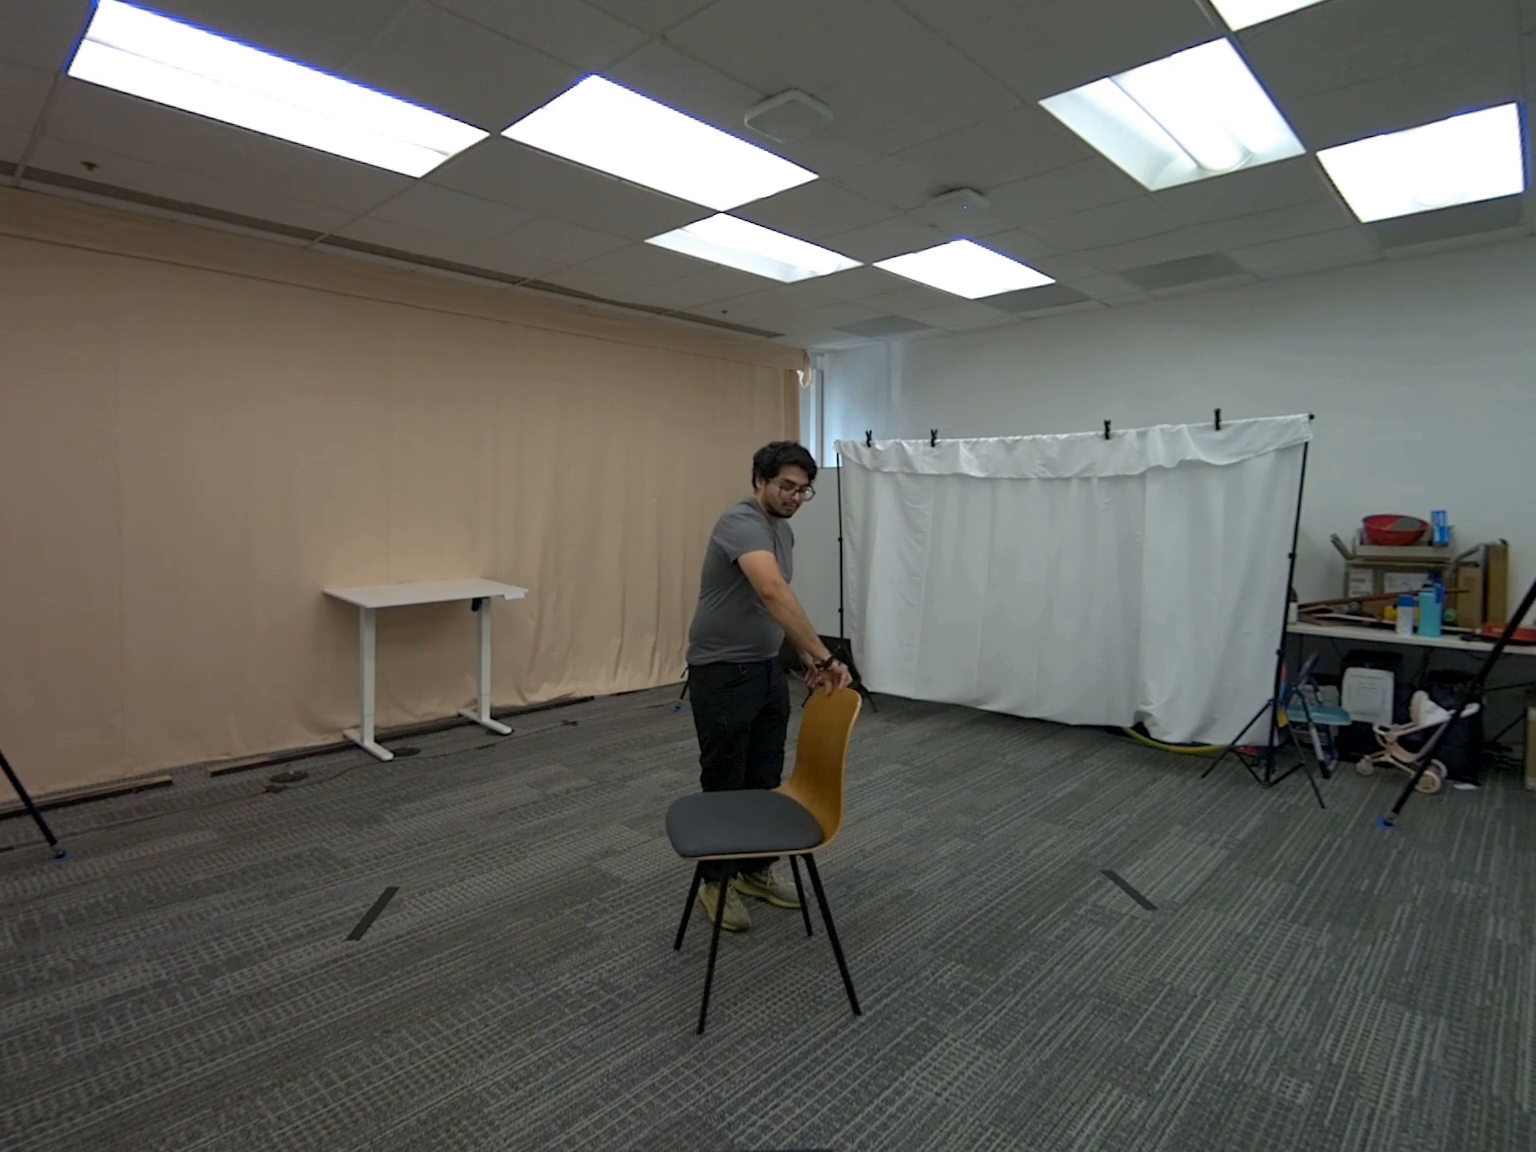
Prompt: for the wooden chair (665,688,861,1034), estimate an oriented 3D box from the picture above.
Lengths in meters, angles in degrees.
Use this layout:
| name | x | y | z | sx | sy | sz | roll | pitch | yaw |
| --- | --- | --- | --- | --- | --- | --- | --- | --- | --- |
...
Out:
| name | x | y | z | sx | sy | sz | roll | pitch | yaw |
| --- | --- | --- | --- | --- | --- | --- | --- | --- | --- |
| wooden chair | -0.030 | 0.760 | 2.451 | 0.516 | 0.876 | 0.485 | 3 | 2 | -13 |
